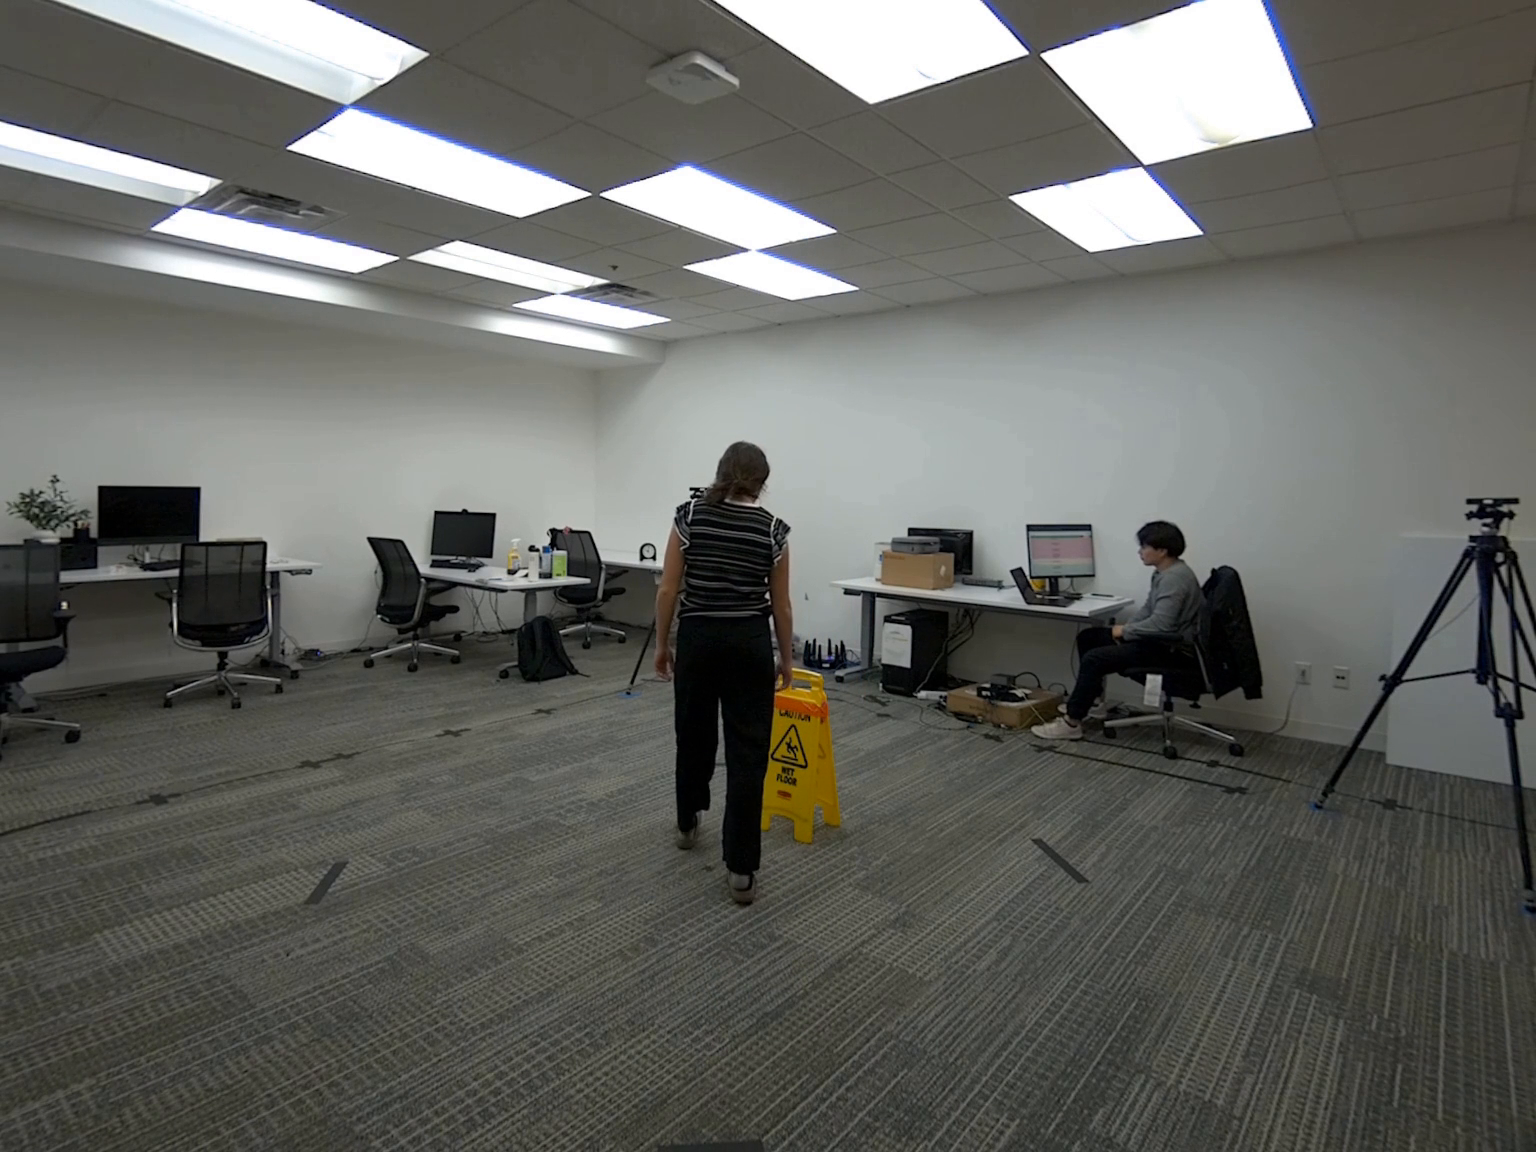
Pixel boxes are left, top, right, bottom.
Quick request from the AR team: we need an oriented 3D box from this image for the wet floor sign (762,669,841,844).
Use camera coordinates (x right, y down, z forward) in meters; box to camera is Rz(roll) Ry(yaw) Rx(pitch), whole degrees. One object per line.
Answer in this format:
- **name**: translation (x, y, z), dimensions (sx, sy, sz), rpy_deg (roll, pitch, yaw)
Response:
- **wet floor sign**: translation (0.119, 0.708, 3.510), dimensions (0.291, 0.645, 0.281), rpy_deg (4, 3, 35)
